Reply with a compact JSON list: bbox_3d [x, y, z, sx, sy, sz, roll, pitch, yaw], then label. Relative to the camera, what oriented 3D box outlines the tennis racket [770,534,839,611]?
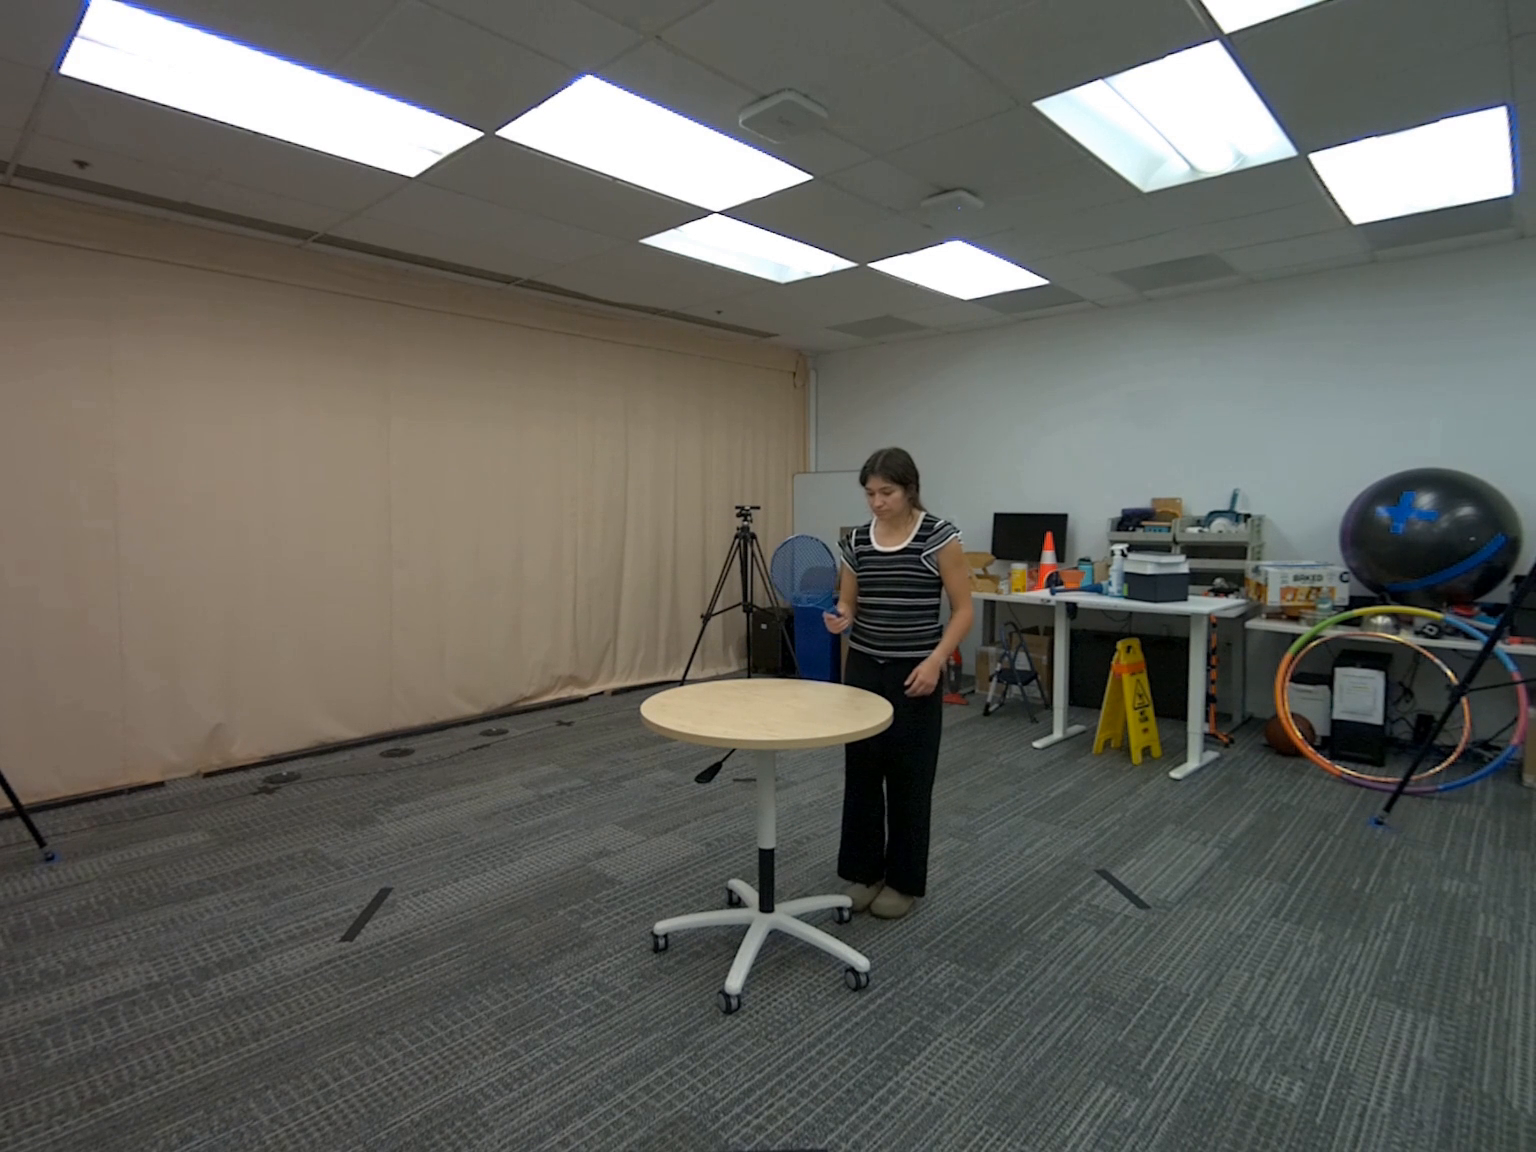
[{"bbox_3d":[0.152,0.041,2.690,0.213,0.420,0.033,-38,30,-4],"label":"tennis racket"}]
